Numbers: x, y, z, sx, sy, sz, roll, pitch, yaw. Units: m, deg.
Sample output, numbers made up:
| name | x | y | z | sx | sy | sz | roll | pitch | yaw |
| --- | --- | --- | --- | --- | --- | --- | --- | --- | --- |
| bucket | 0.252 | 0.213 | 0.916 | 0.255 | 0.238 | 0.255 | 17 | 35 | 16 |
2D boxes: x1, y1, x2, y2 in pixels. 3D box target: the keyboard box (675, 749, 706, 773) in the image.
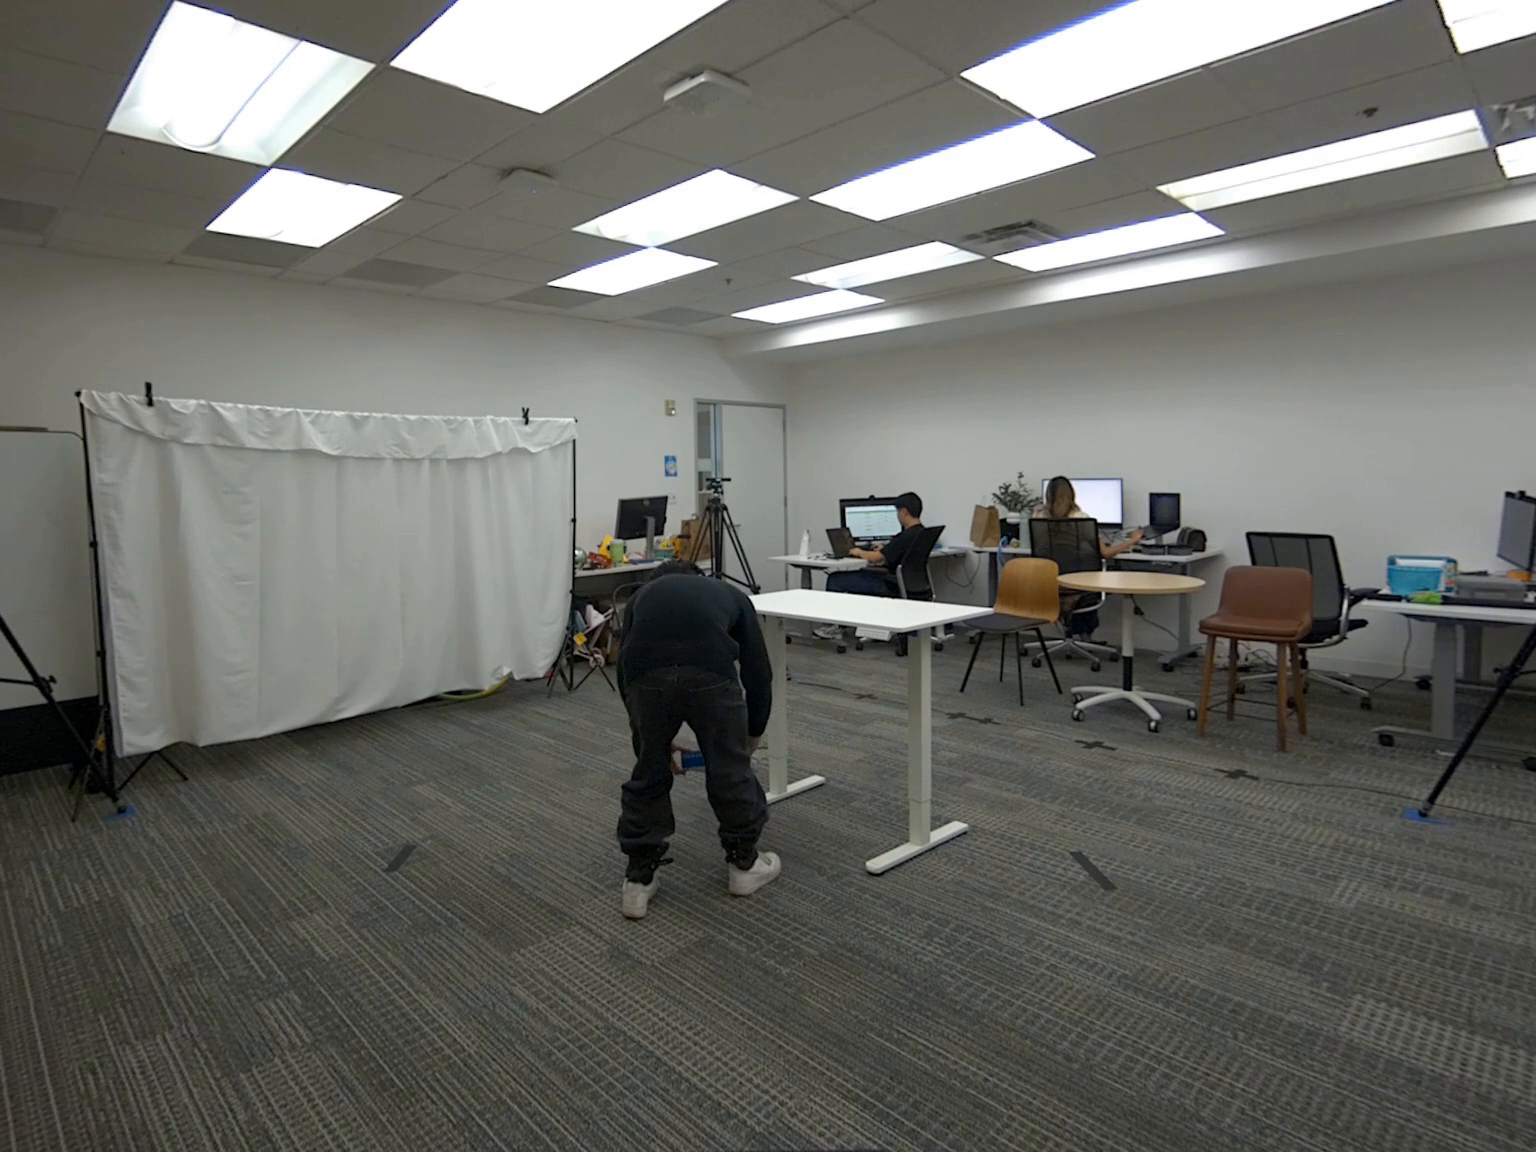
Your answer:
| name | x | y | z | sx | sy | sz | roll | pitch | yaw |
| --- | --- | --- | --- | --- | --- | --- | --- | --- | --- |
| keyboard box | -0.168 | 0.714 | 3.245 | 0.178 | 0.060 | 0.424 | -7 | -19 | 12 |
